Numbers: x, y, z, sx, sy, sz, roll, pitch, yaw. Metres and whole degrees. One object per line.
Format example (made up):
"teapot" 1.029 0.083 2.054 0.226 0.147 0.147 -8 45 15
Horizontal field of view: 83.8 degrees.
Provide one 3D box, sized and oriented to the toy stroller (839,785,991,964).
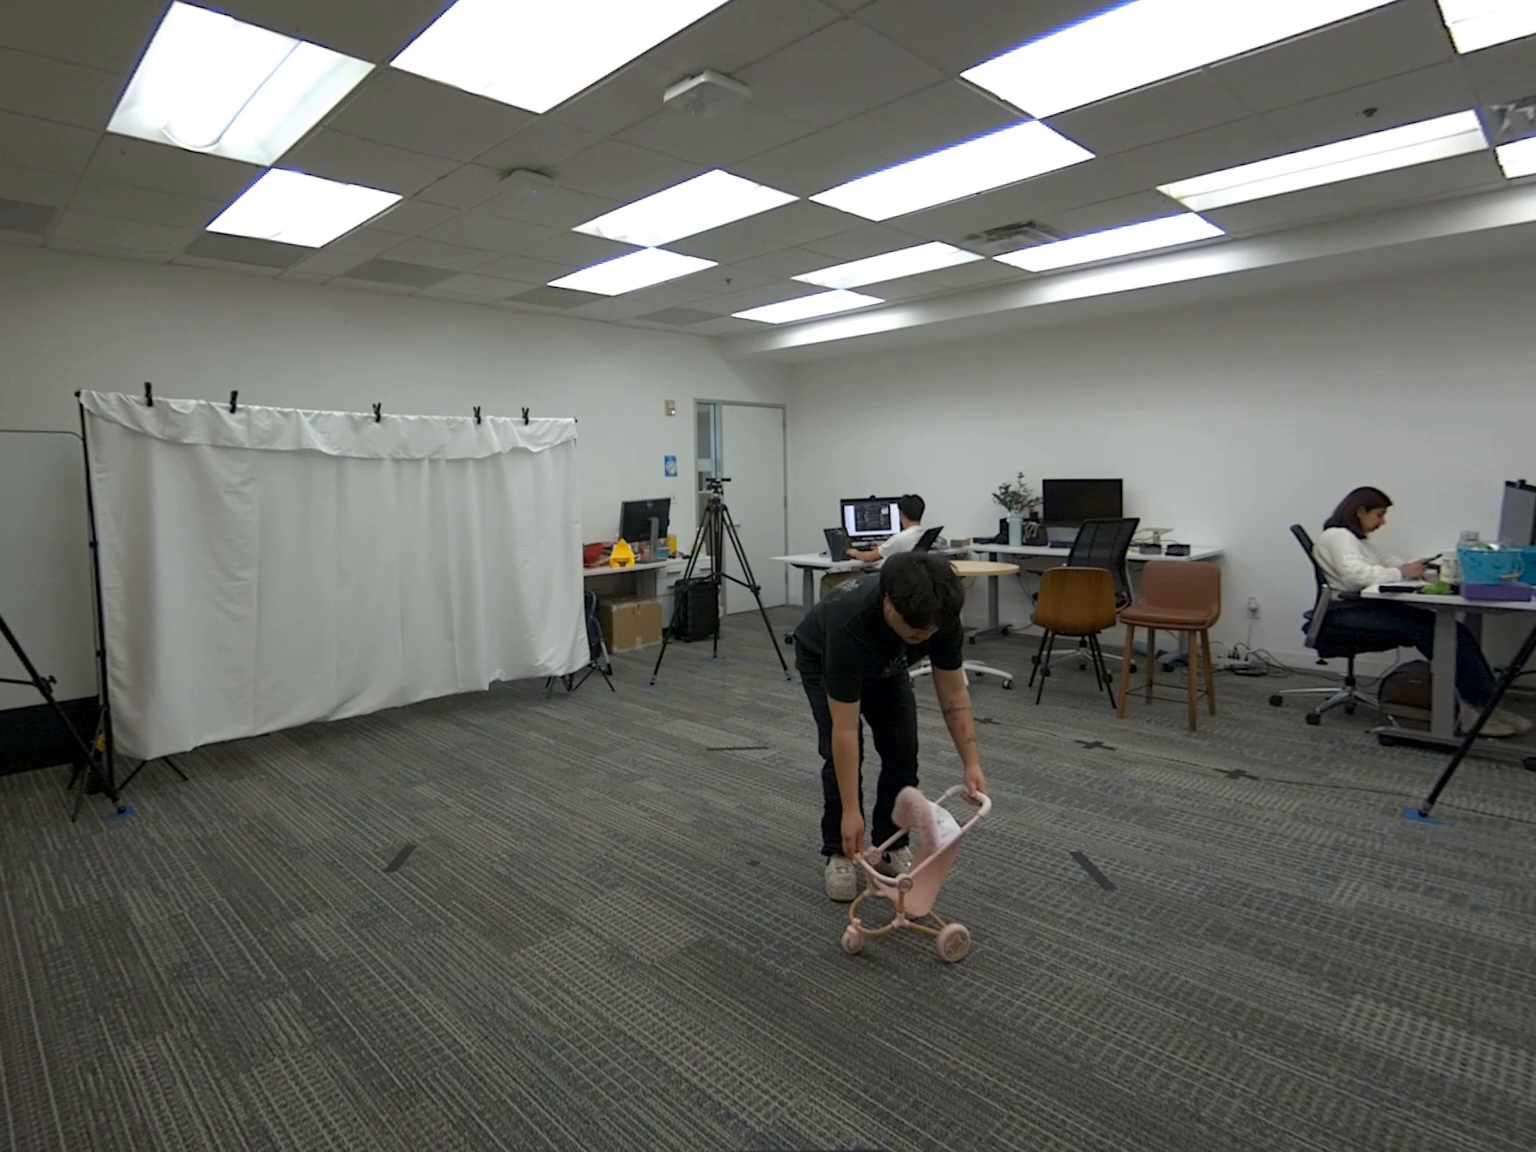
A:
"toy stroller" 0.419 0.870 2.548 0.336 0.535 0.285 13 -1 -13
